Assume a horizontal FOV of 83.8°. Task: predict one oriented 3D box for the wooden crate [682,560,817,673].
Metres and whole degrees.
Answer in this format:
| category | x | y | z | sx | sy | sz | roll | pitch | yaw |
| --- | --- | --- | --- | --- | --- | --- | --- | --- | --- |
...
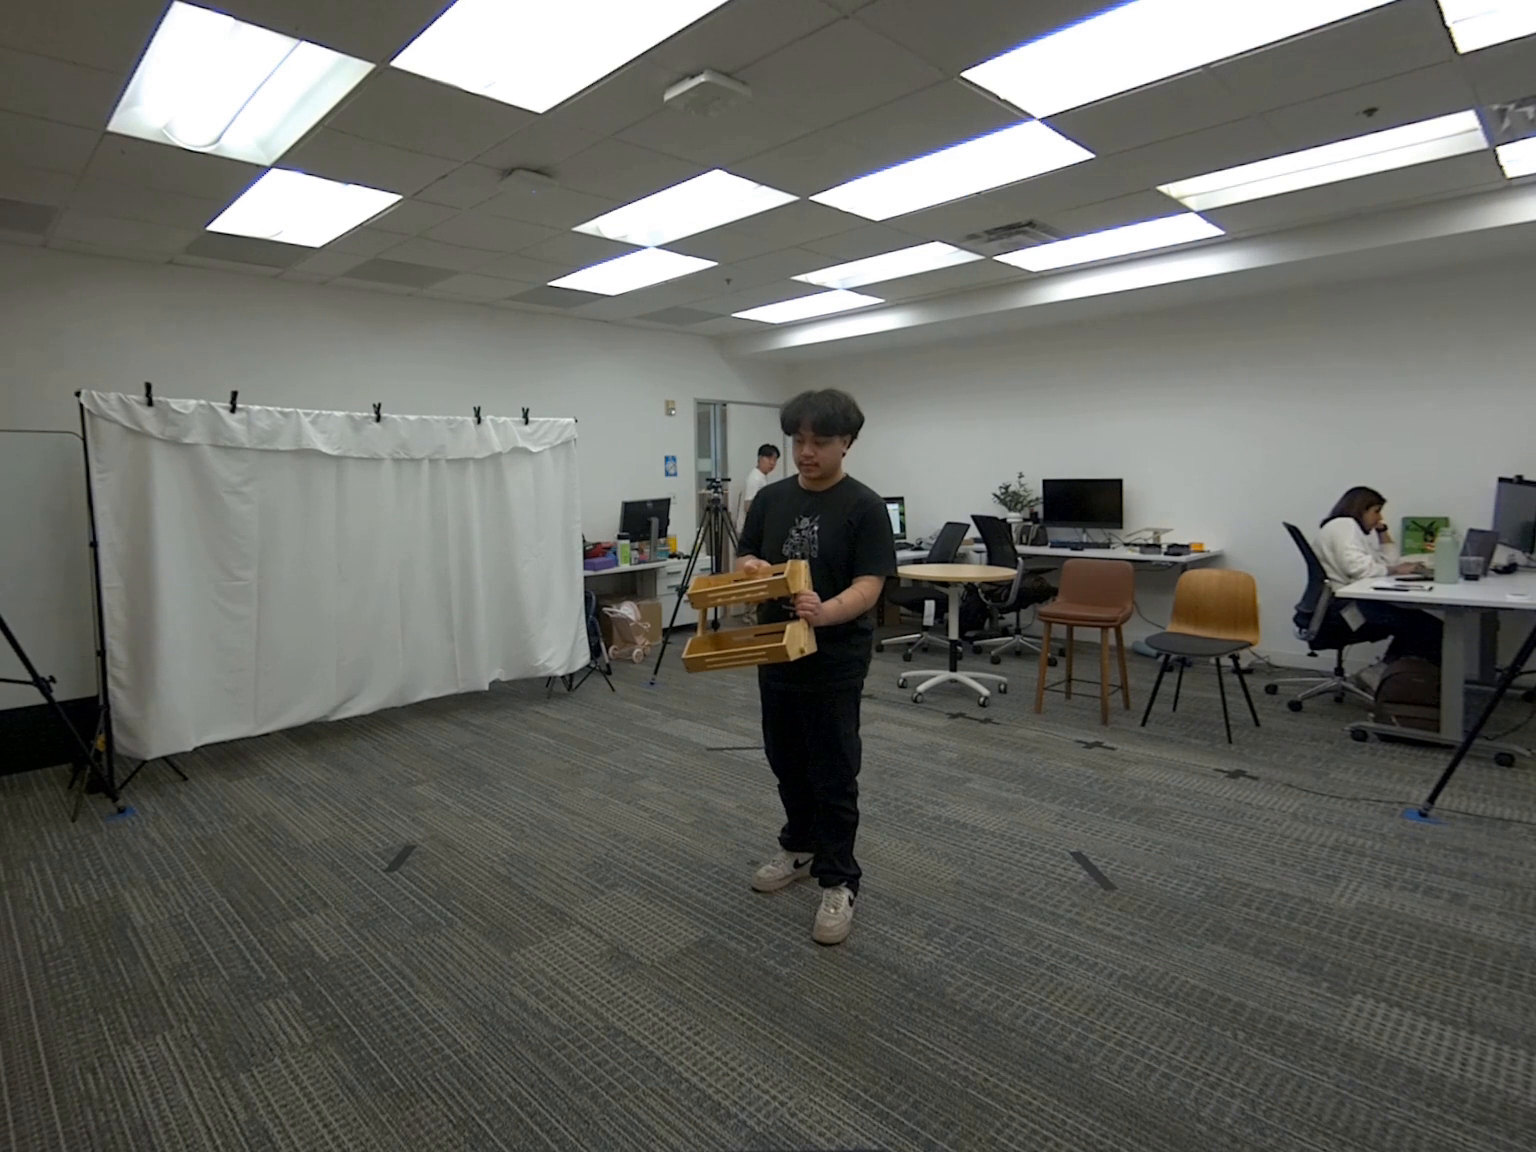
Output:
| category | x | y | z | sx | sy | sz | roll | pitch | yaw |
| --- | --- | --- | --- | --- | --- | --- | --- | --- | --- |
| wooden crate | -0.053 | 0.105 | 2.379 | 0.330 | 0.275 | 0.296 | -10 | -4 | 21 |
